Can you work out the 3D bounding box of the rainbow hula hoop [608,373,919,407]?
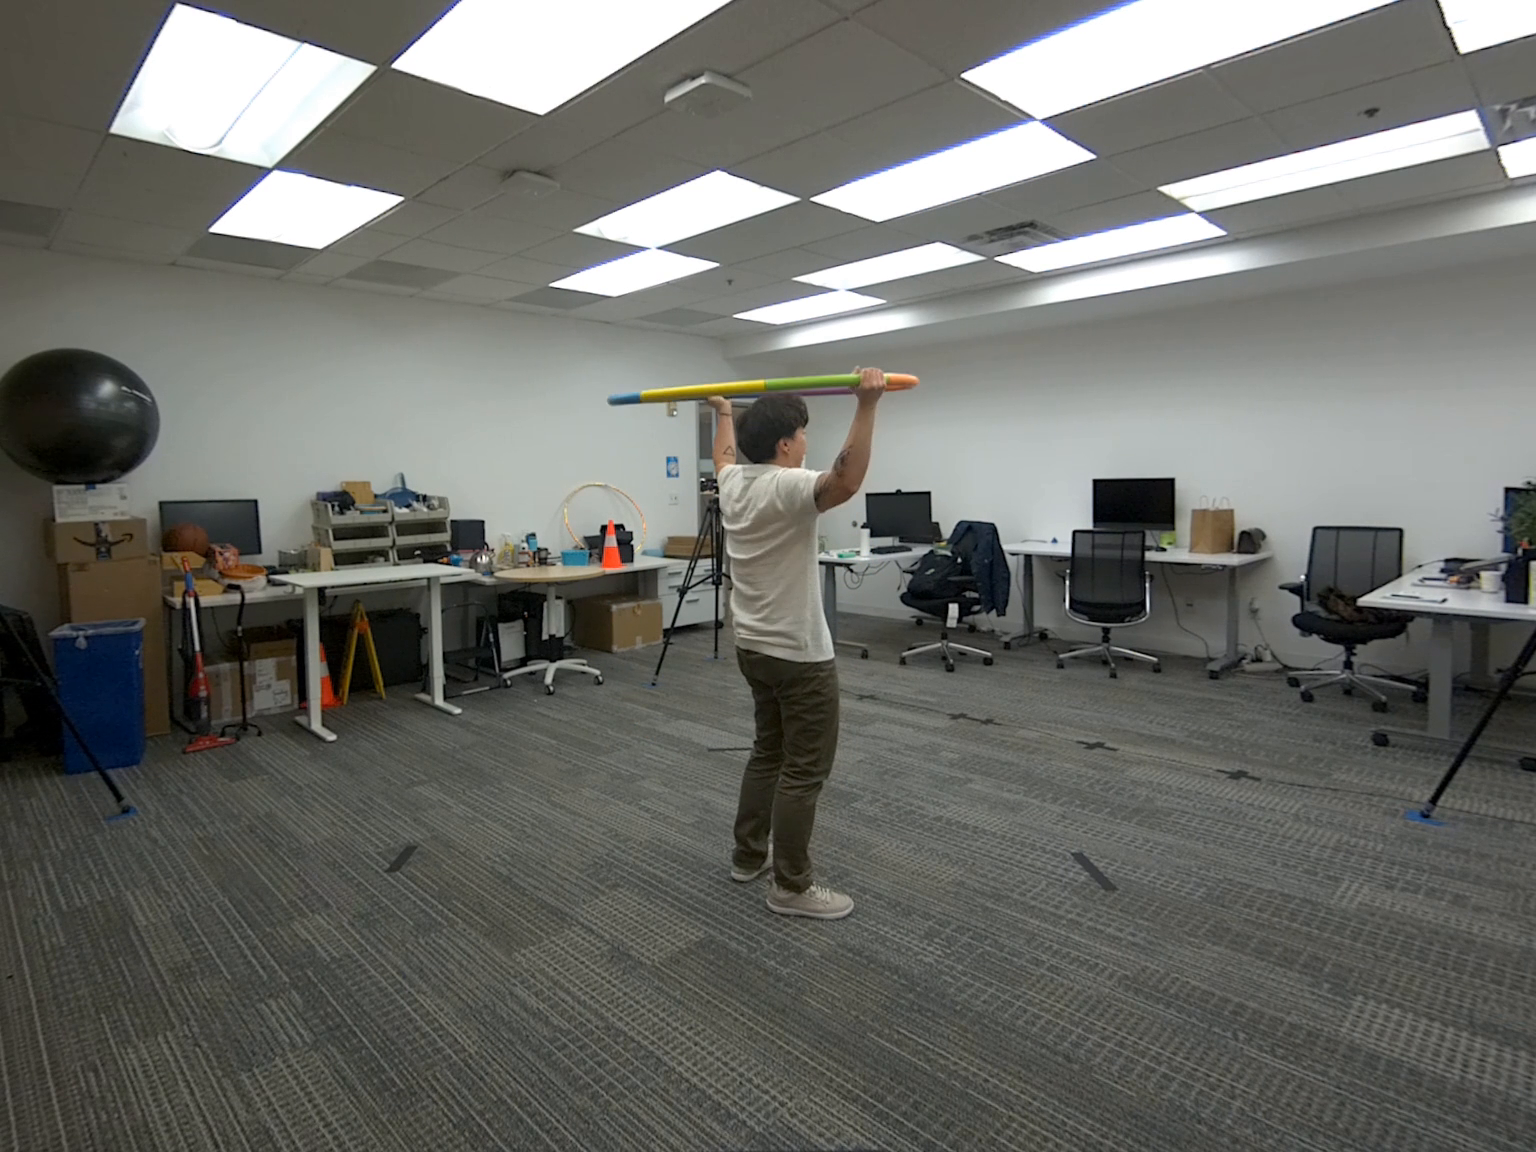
[{"bbox_3d":[-0.022,-0.591,2.736,0.978,0.035,0.988,-4,11,-1],"label":"rainbow hula hoop"}]
